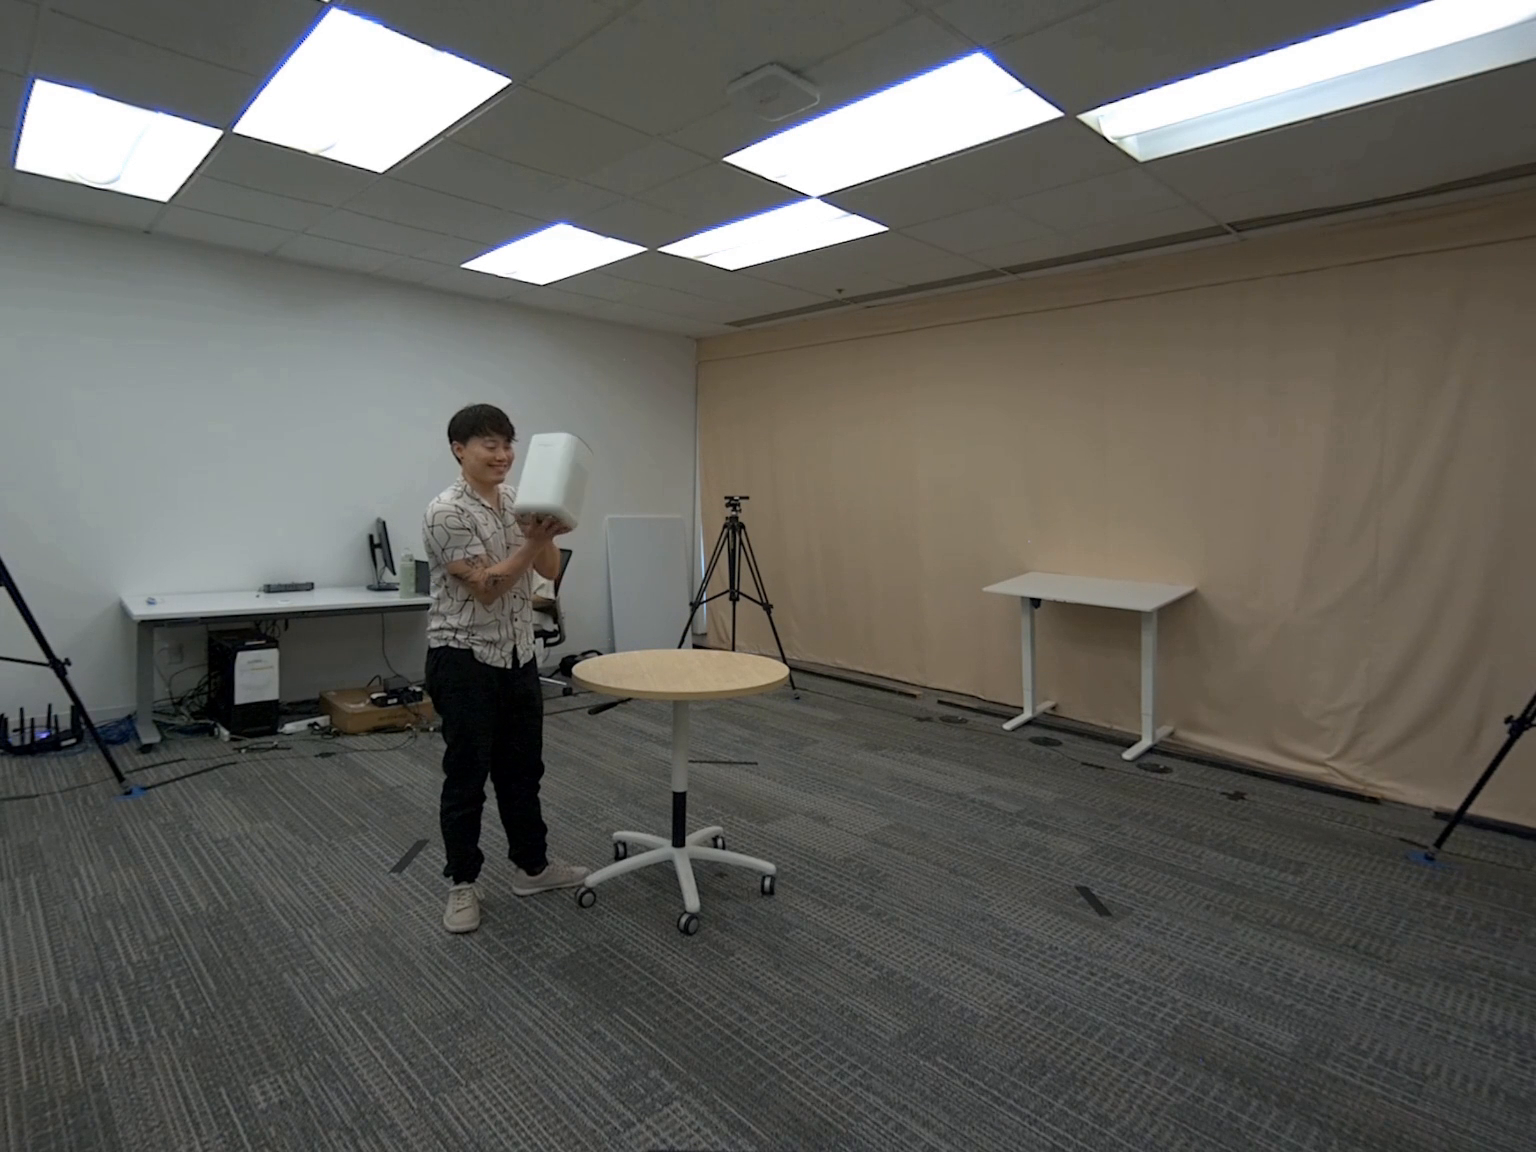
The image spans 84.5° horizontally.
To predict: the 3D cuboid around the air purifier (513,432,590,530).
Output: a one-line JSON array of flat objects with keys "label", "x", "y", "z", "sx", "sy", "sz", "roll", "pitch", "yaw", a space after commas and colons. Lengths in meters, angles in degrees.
[{"label": "air purifier", "x": -0.657, "y": -0.275, "z": 2.552, "sx": 0.173, "sy": 0.269, "sz": 0.167, "roll": 0, "pitch": -24, "yaw": 11}]
